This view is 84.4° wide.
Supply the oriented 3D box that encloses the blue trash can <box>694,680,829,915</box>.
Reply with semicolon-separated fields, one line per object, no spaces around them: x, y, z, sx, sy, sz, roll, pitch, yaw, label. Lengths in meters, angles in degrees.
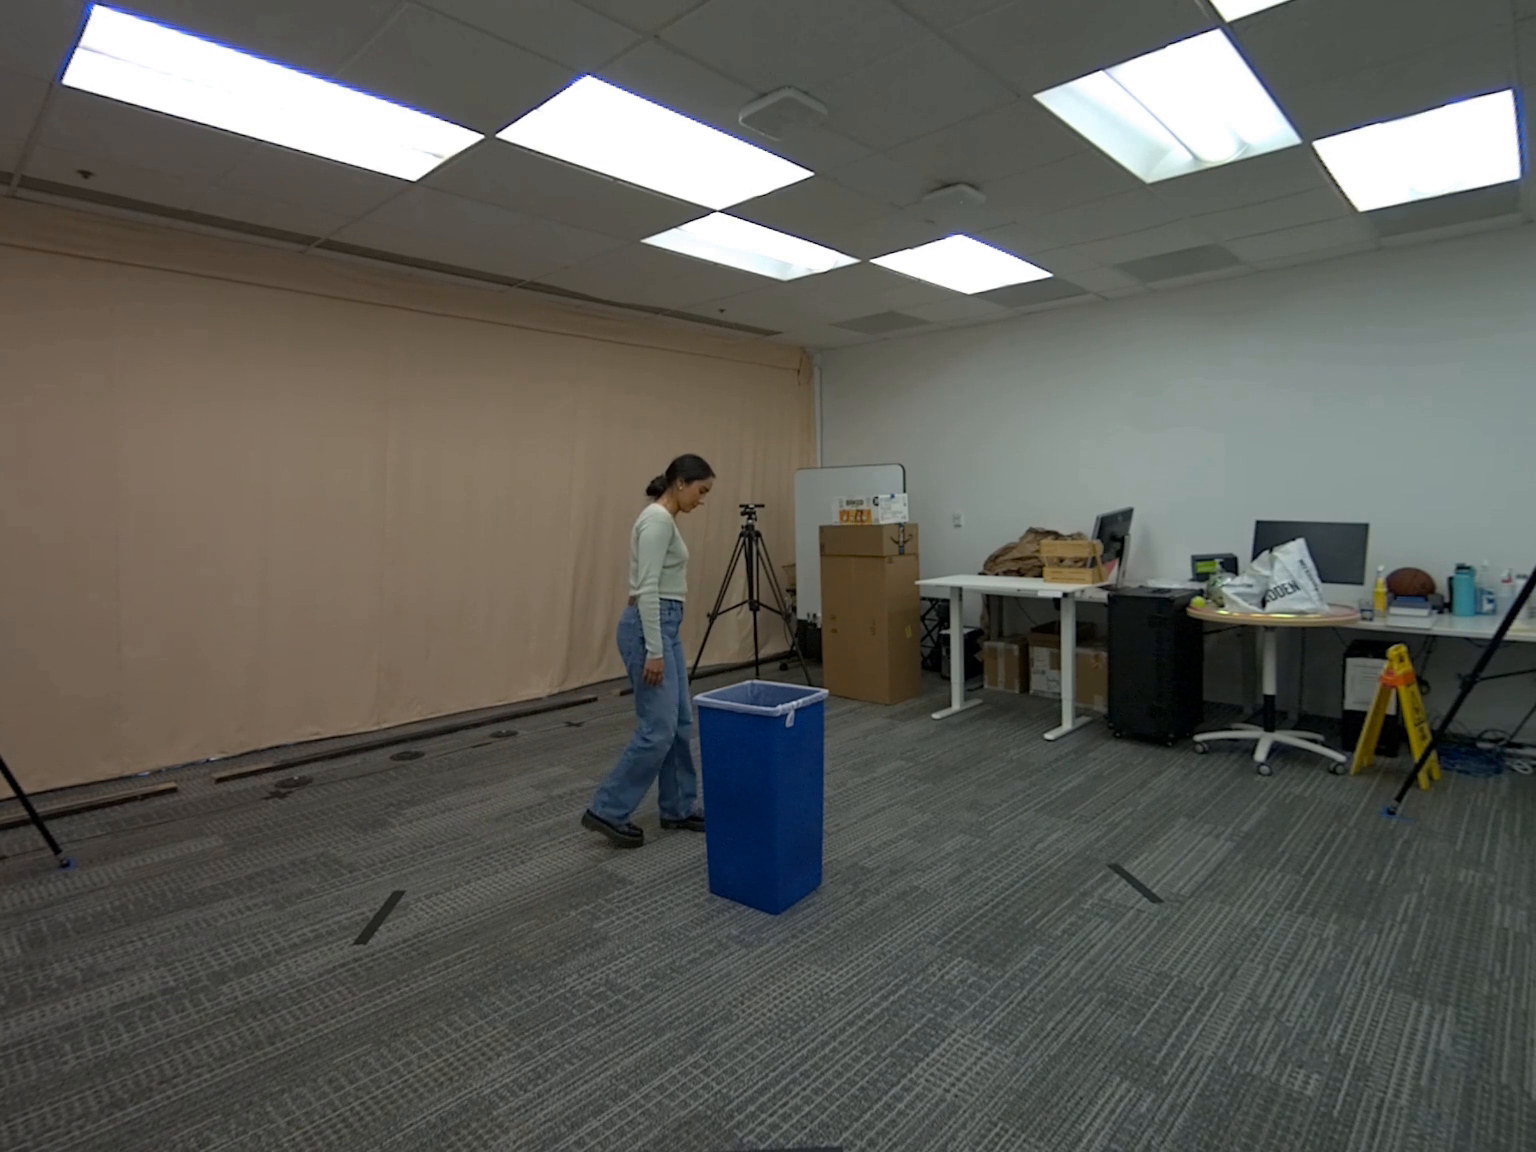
-0.020;0.775;3.035;0.386;0.712;0.367;2;4;37;blue trash can
